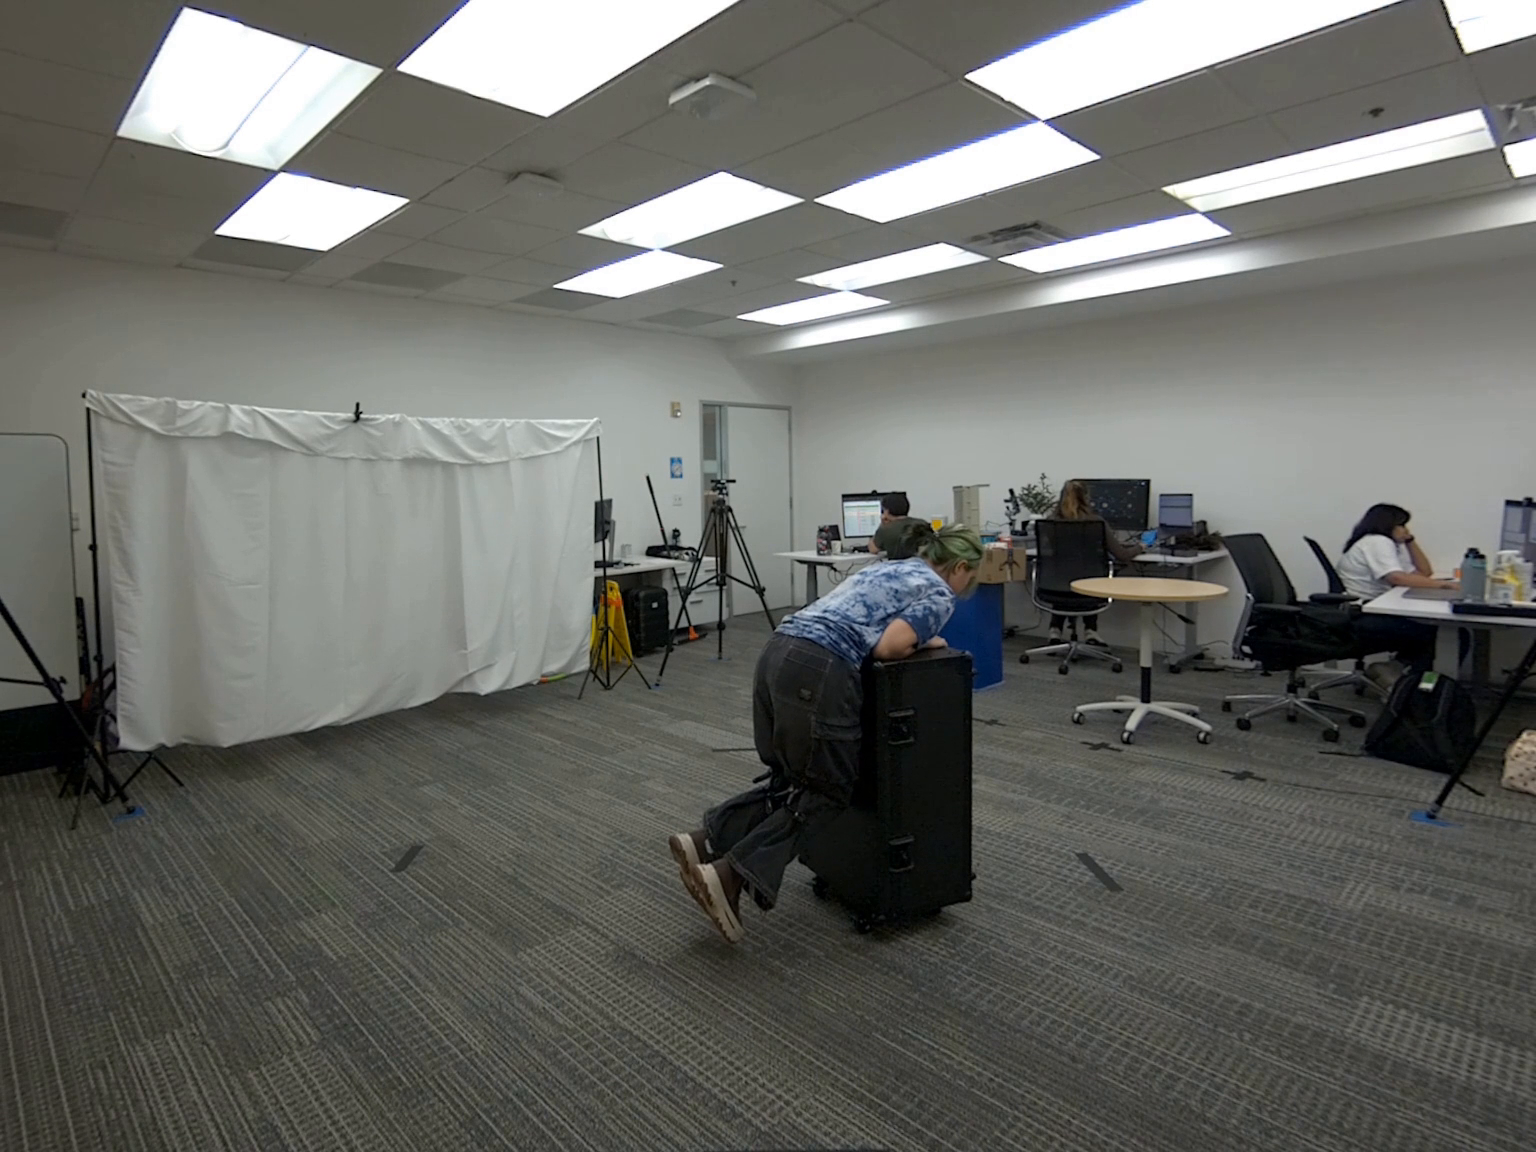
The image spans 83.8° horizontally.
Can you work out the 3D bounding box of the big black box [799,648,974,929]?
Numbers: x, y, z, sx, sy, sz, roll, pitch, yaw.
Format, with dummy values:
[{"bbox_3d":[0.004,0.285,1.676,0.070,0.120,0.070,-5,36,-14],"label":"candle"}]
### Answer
[{"bbox_3d":[0.384,0.597,2.796,0.388,0.858,0.534,-2,5,-26],"label":"big black box"}]
